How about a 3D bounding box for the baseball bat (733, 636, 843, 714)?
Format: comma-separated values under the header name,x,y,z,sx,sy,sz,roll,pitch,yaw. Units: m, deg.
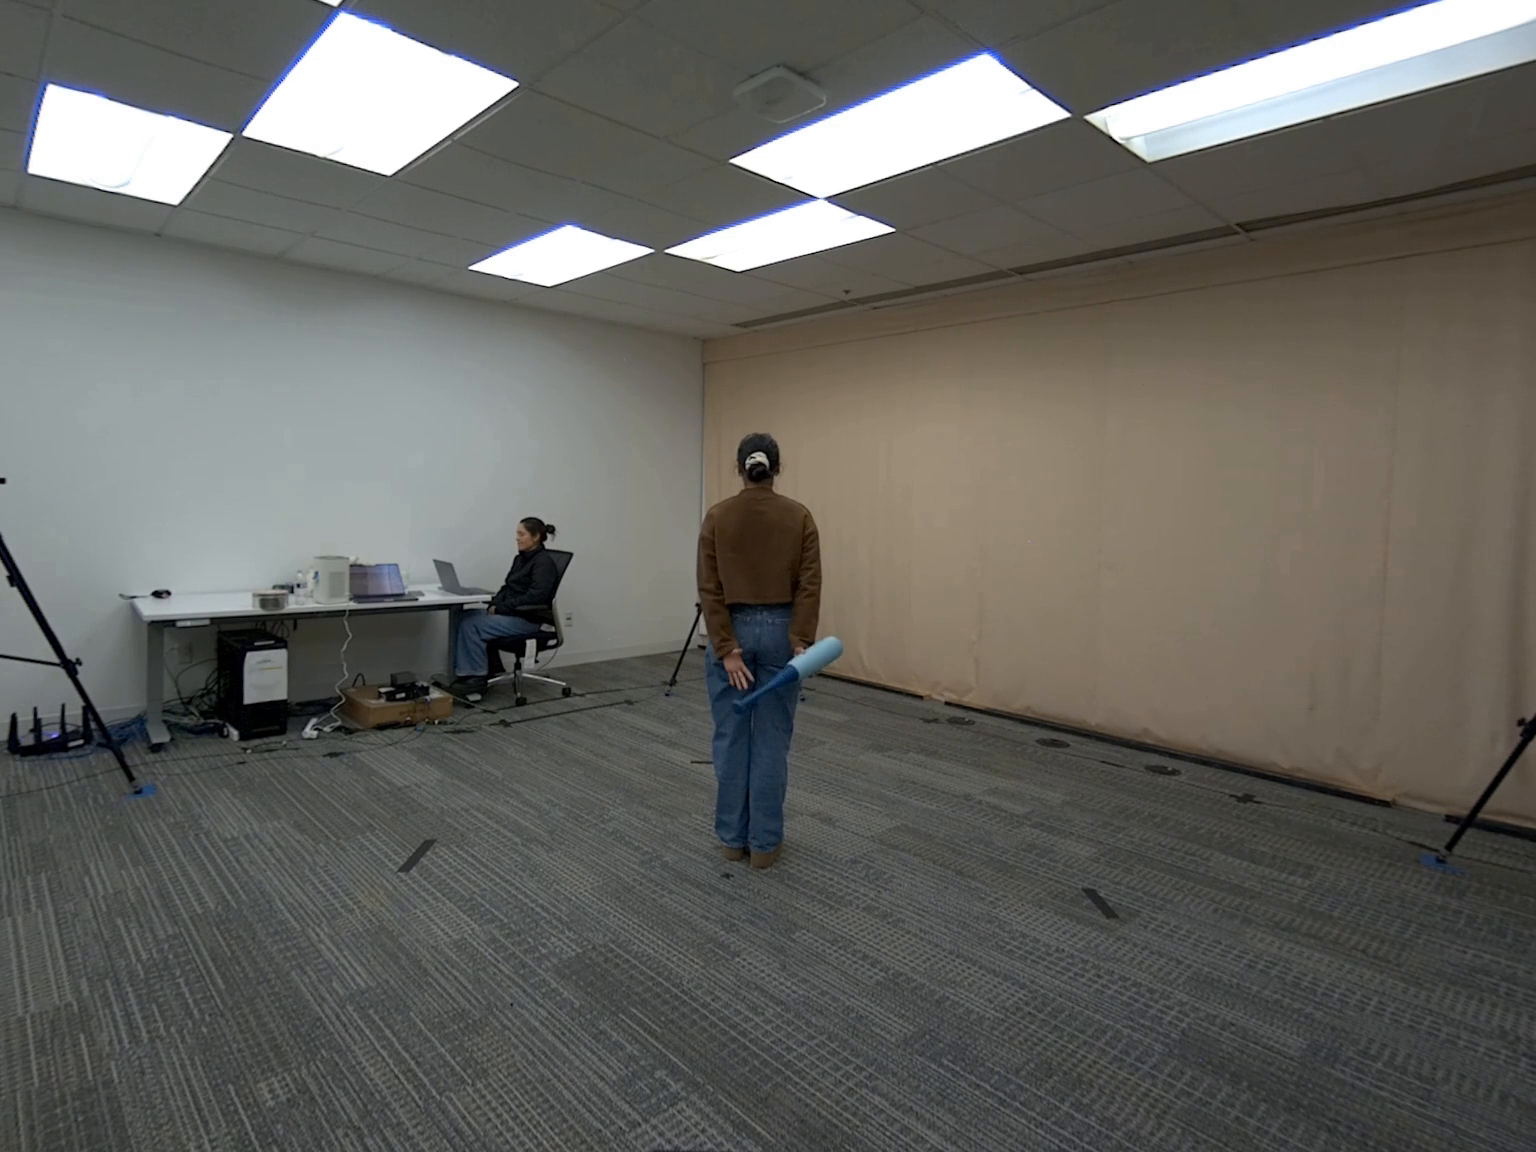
name,x,y,z,sx,sy,sz,roll,pitch,yaw
baseball bat,0.067,0.357,2.970,0.091,0.088,0.537,5,25,44
